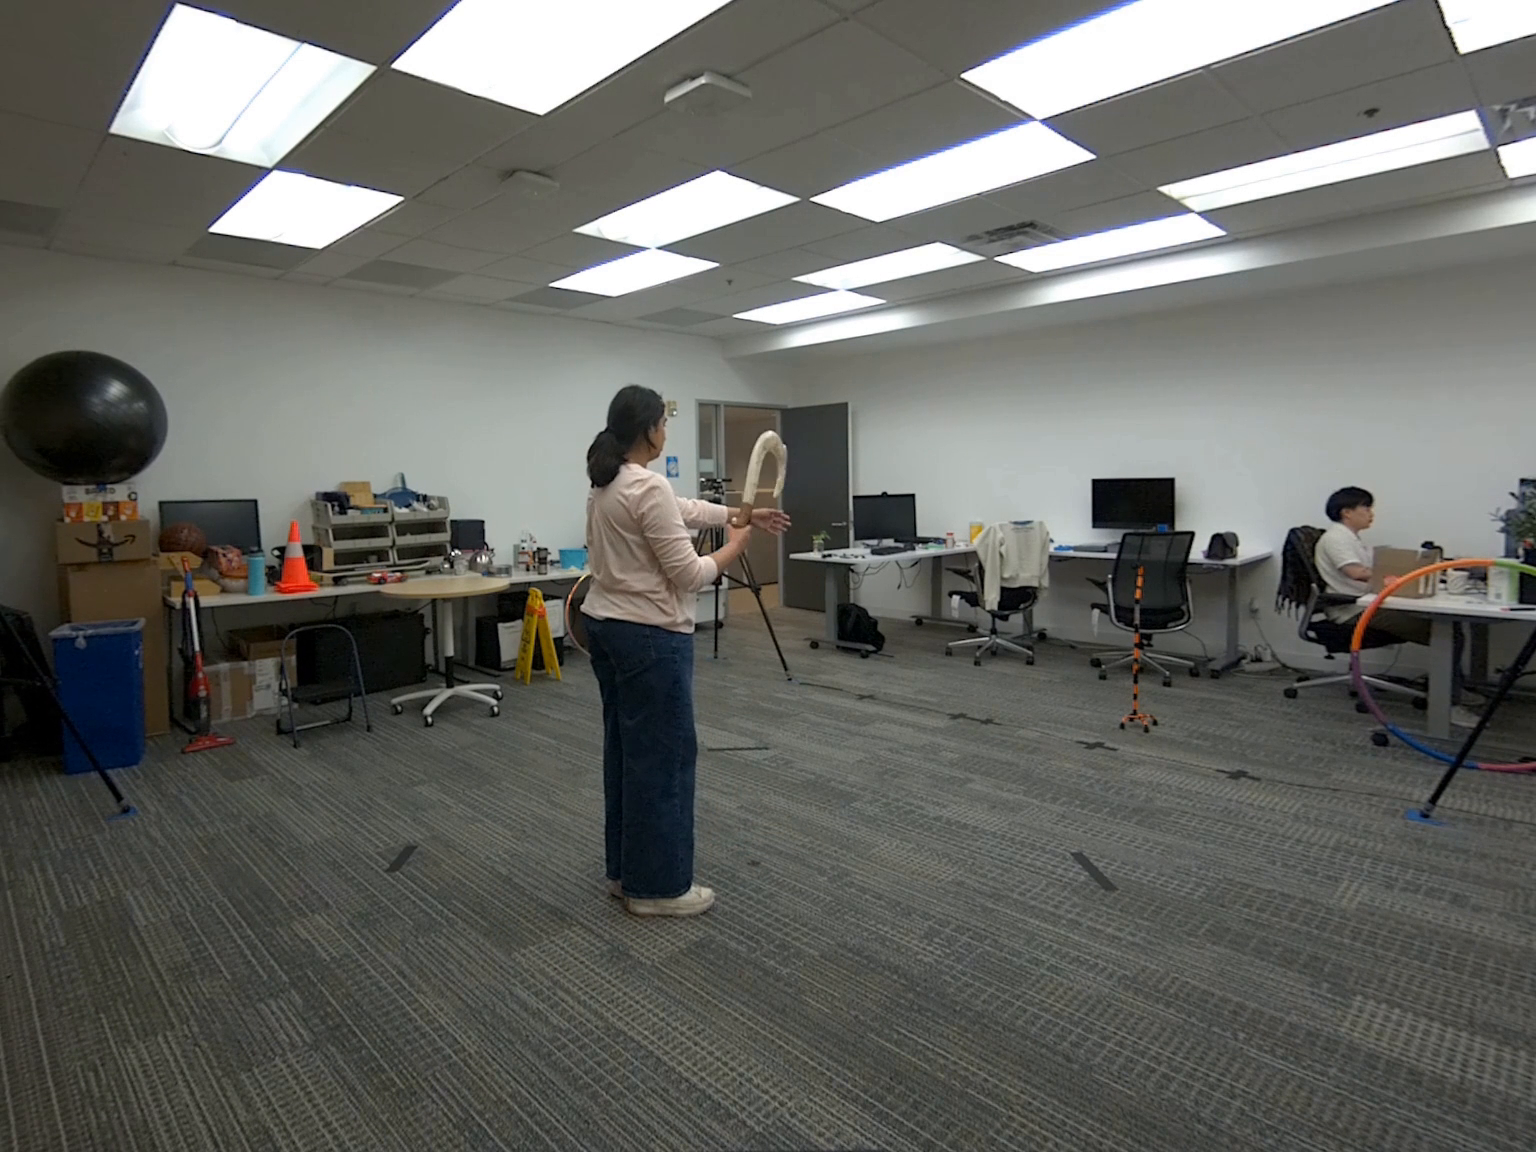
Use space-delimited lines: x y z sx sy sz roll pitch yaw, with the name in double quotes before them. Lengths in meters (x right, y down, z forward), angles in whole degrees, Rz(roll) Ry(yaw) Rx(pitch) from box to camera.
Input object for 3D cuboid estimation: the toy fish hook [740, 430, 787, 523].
"toy fish hook" -0.031 -0.263 3.000 0.050 0.512 0.216 1 -29 37
